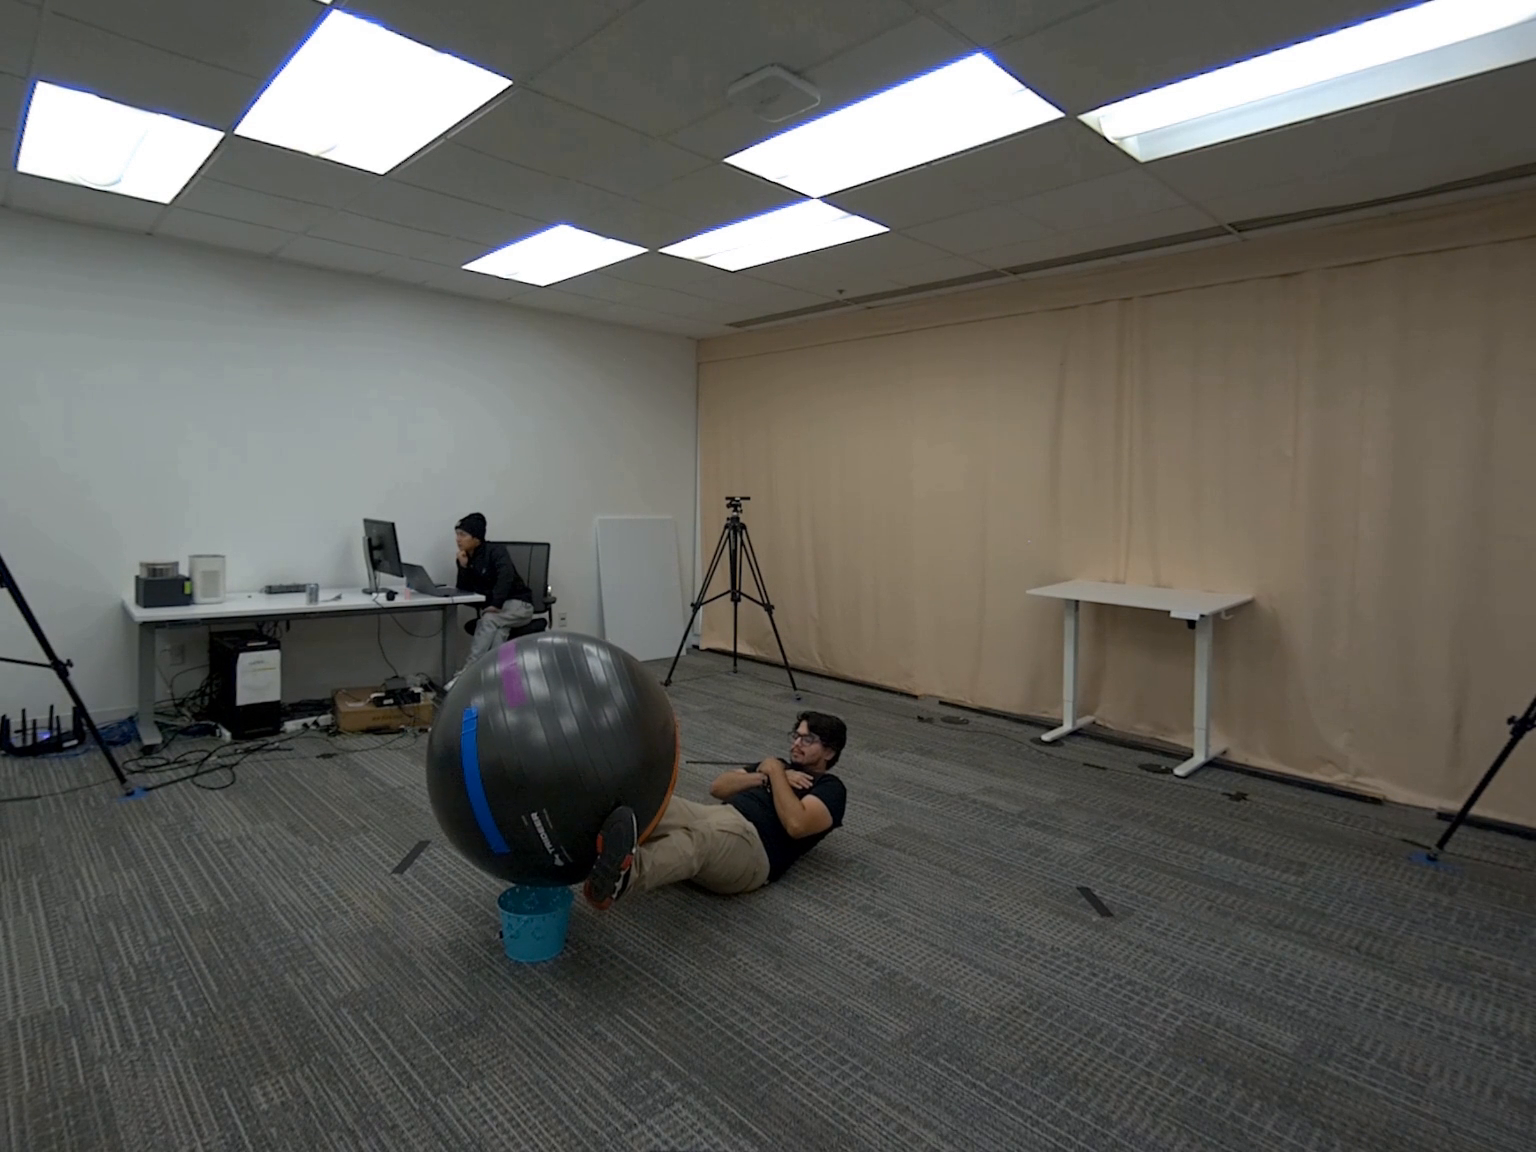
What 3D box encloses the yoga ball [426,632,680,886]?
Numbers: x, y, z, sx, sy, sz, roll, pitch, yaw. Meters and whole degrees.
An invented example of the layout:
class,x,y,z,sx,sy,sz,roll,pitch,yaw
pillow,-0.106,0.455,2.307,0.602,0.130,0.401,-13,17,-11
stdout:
class,x,y,z,sx,sy,sz,roll,pitch,yaw
yoga ball,-0.660,0.556,2.592,0.757,0.756,0.761,1,4,-1
